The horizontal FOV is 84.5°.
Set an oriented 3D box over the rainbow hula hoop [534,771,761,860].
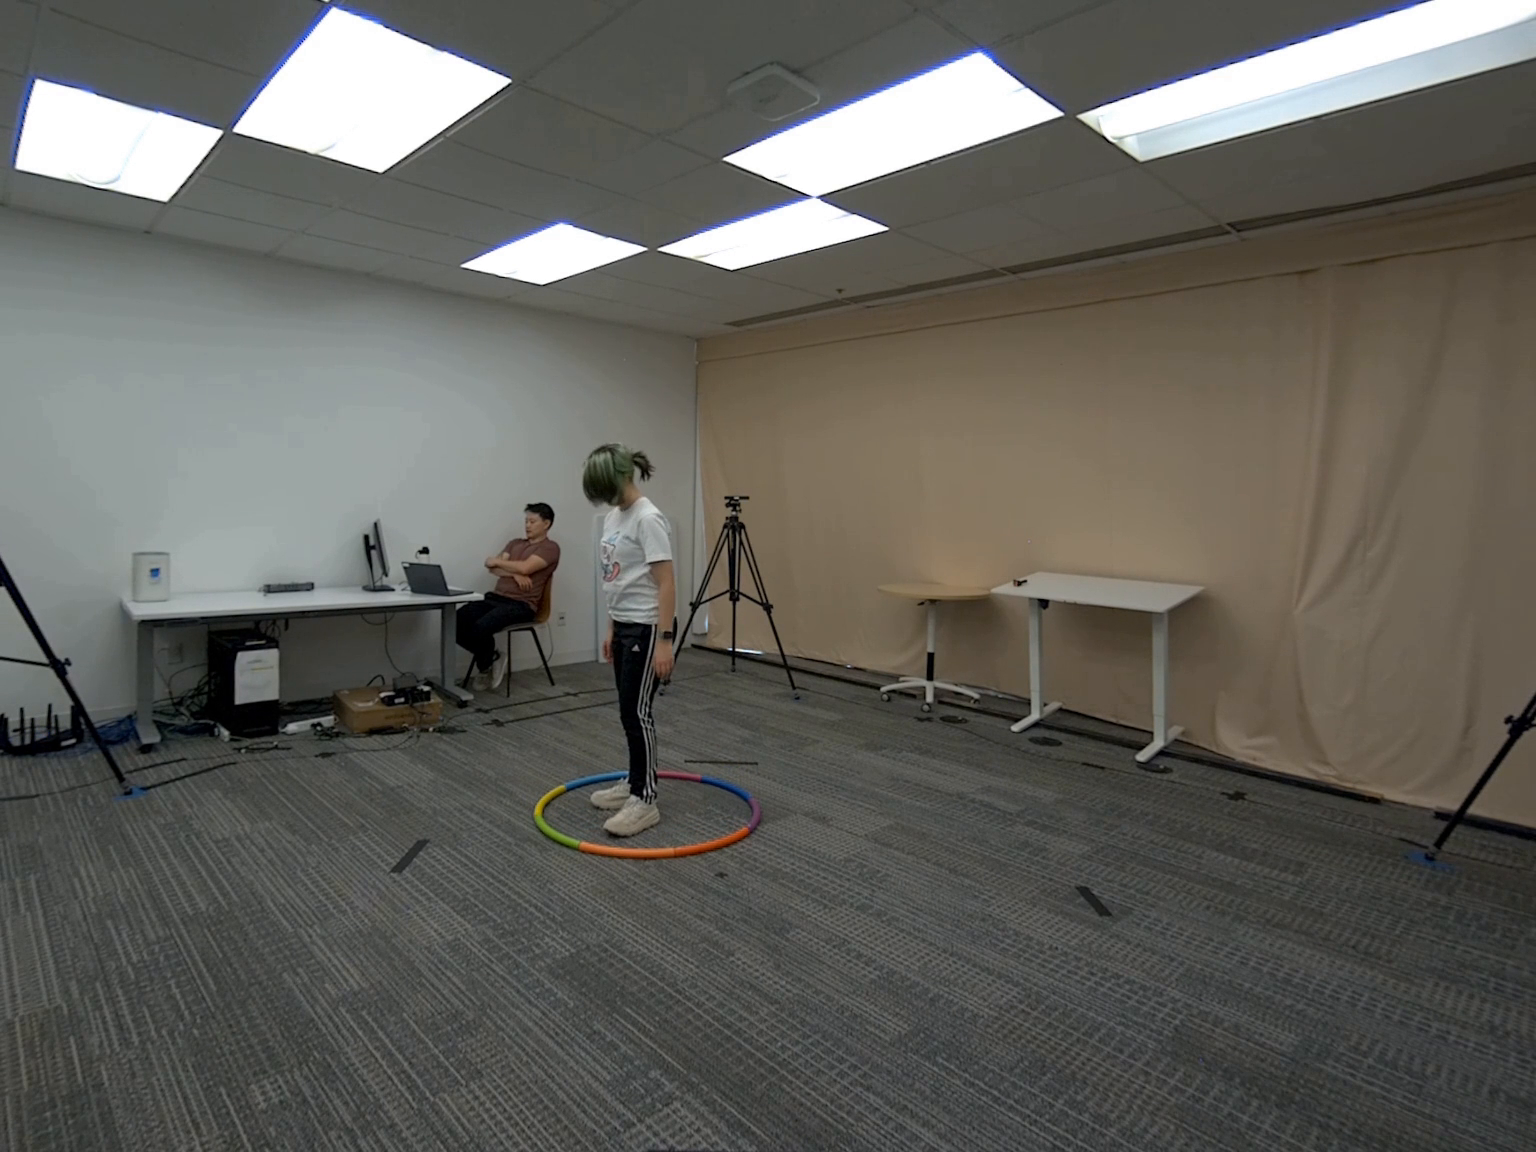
[{"bbox_3d":[-0.531,1.016,3.704,0.985,0.051,0.989,2,5,-1],"label":"rainbow hula hoop"}]
